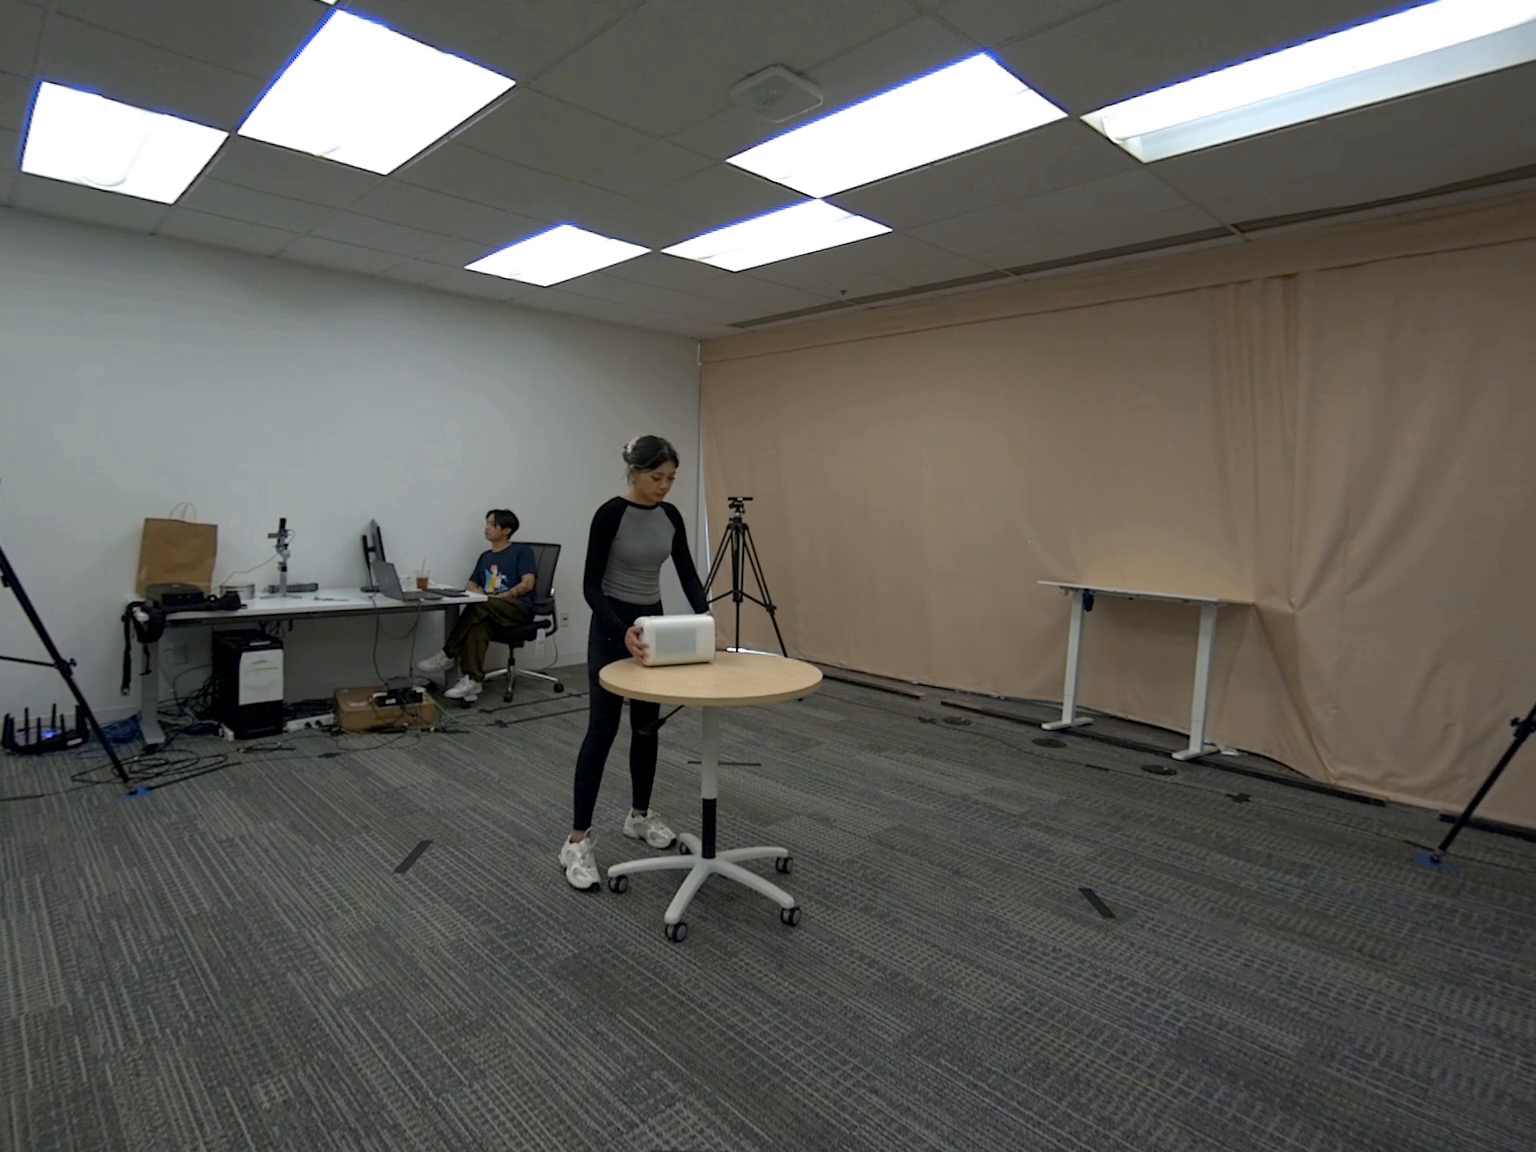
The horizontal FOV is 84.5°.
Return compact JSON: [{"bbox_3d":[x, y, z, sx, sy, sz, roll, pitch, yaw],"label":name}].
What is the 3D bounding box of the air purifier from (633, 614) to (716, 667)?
[{"bbox_3d":[-0.346,0.230,3.038,0.261,0.171,0.174,-1,2,-22],"label":"air purifier"}]
